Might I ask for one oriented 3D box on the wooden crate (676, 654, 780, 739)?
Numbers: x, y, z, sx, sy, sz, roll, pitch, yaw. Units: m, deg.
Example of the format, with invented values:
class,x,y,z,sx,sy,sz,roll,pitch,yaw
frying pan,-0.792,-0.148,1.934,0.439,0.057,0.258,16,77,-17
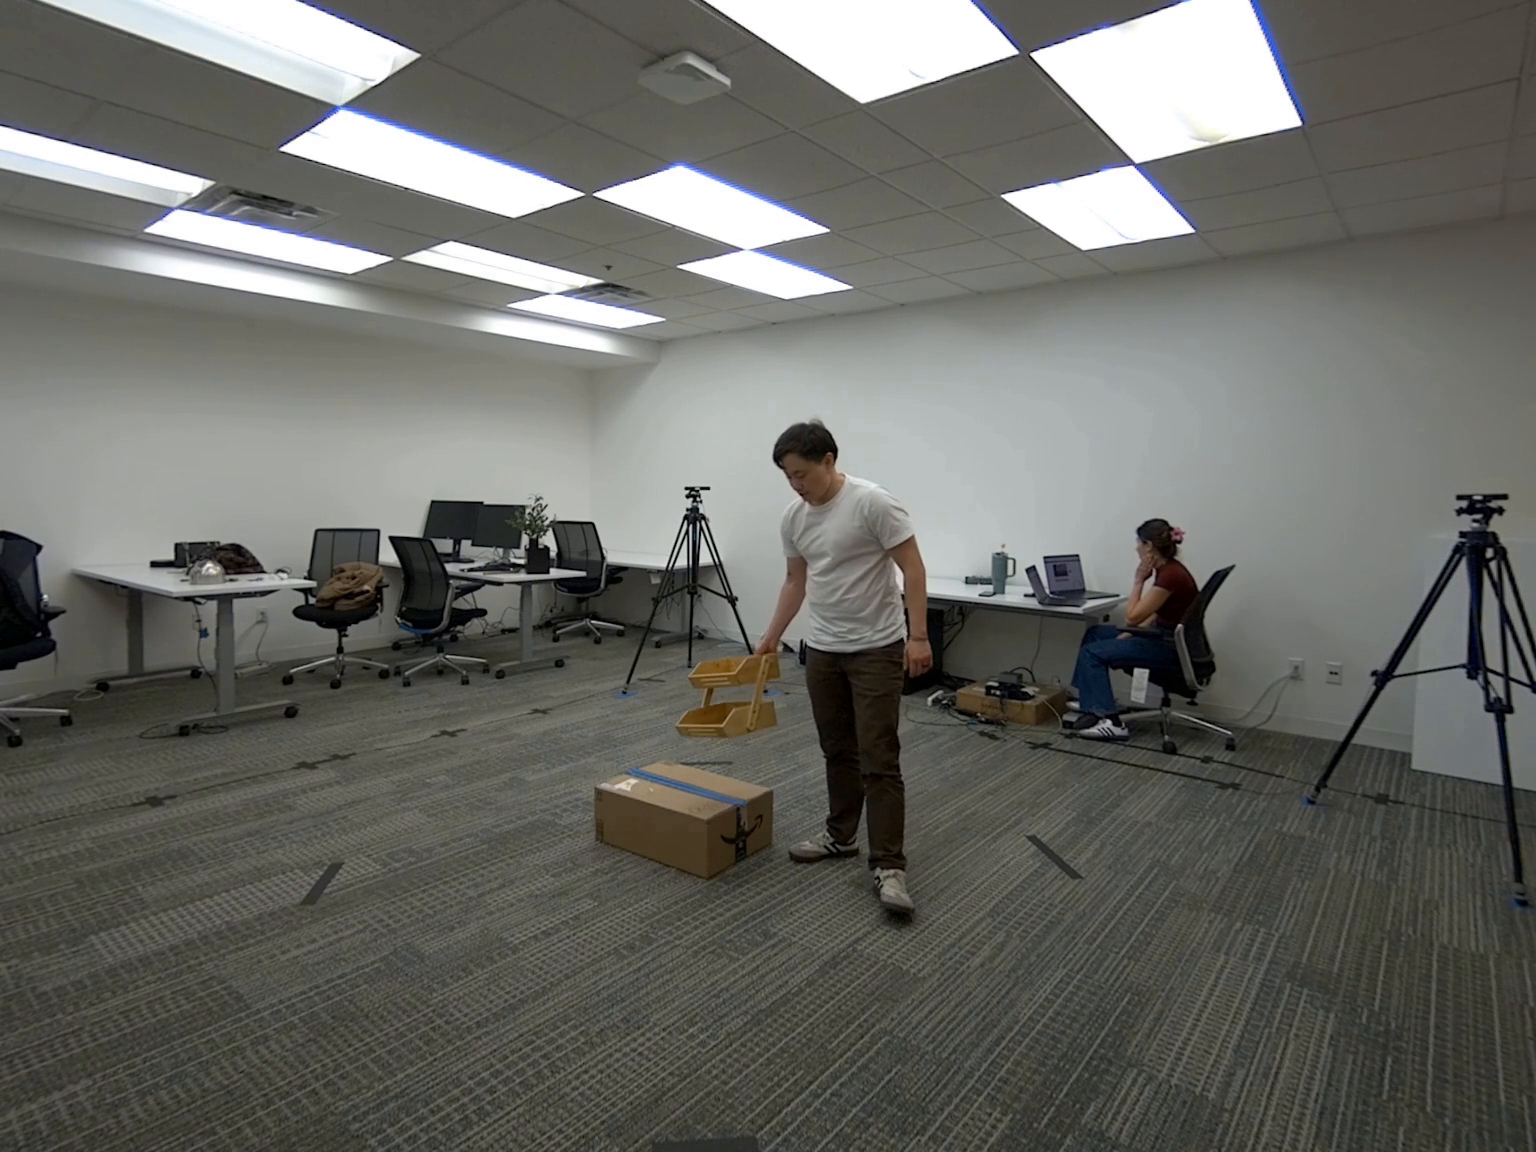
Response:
class,x,y,z,sx,sy,sz,roll,pitch,yaw
wooden crate,-0.174,0.446,3.206,0.293,0.275,0.332,-5,-5,-39
